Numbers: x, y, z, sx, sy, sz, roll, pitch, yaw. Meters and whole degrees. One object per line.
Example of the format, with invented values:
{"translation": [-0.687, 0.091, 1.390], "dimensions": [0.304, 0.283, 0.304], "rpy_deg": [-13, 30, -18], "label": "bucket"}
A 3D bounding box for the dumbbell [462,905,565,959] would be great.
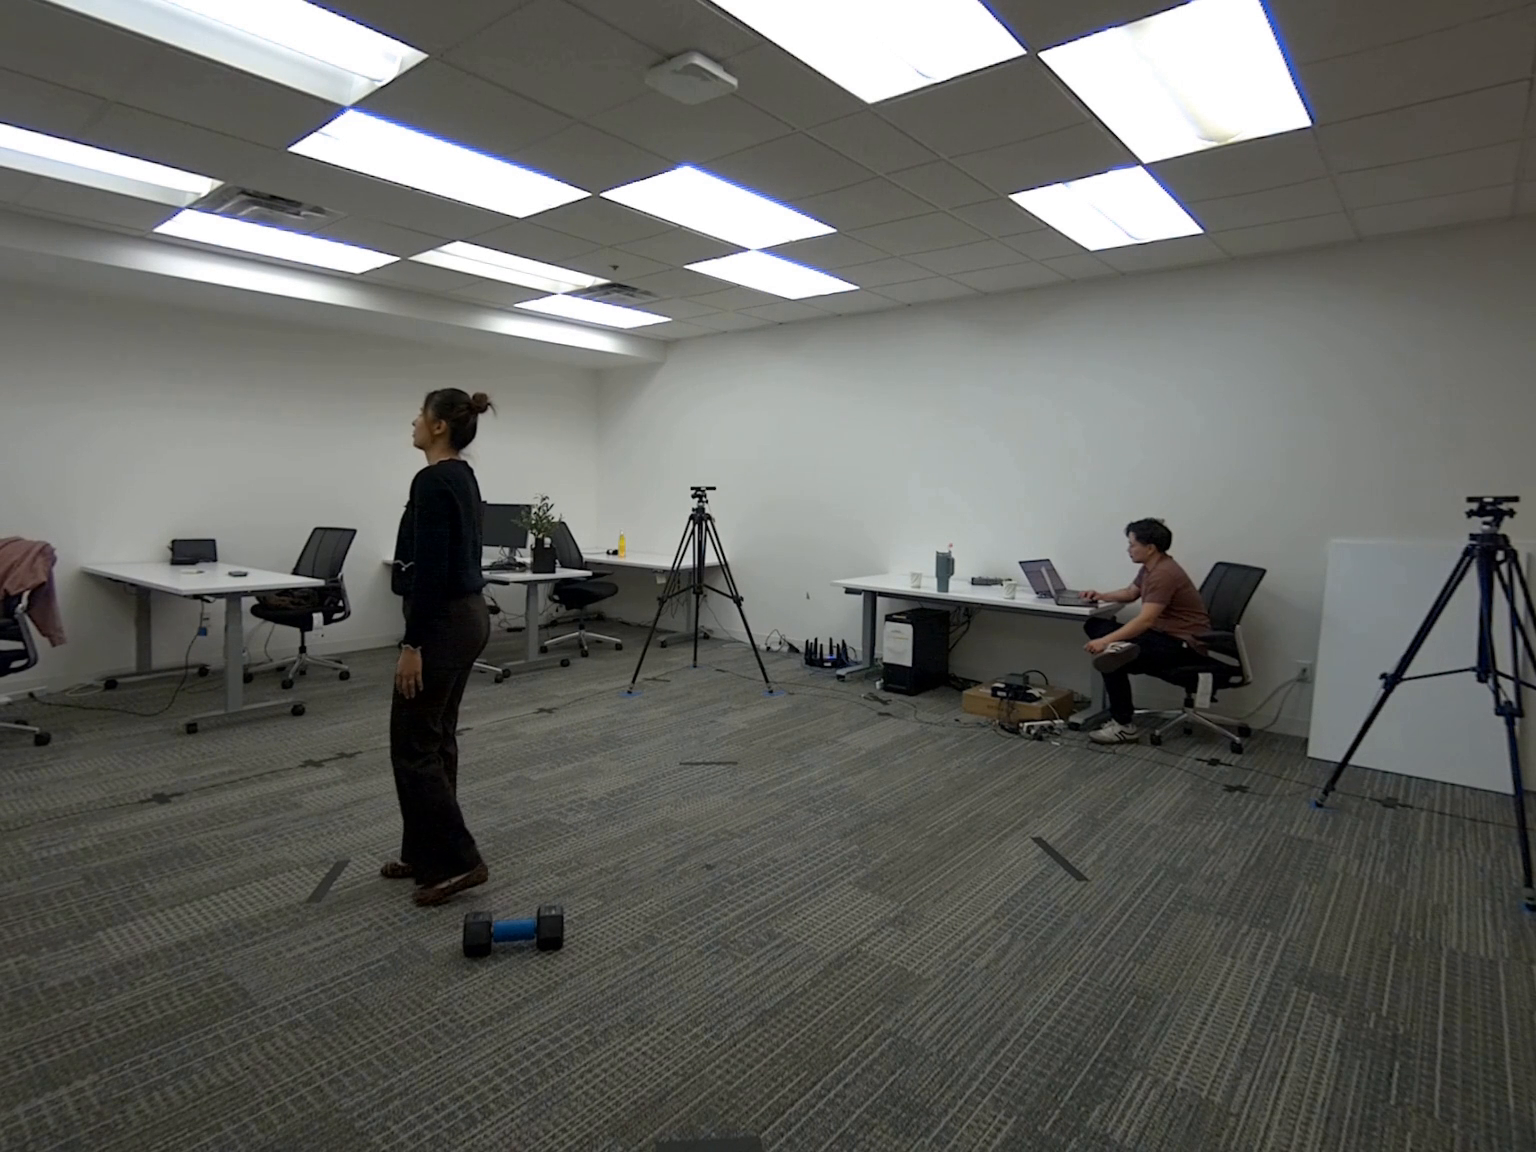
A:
{"translation": [-0.769, 1.061, 2.548], "dimensions": [0.290, 0.120, 0.112], "rpy_deg": [0, 32, -12], "label": "dumbbell"}
